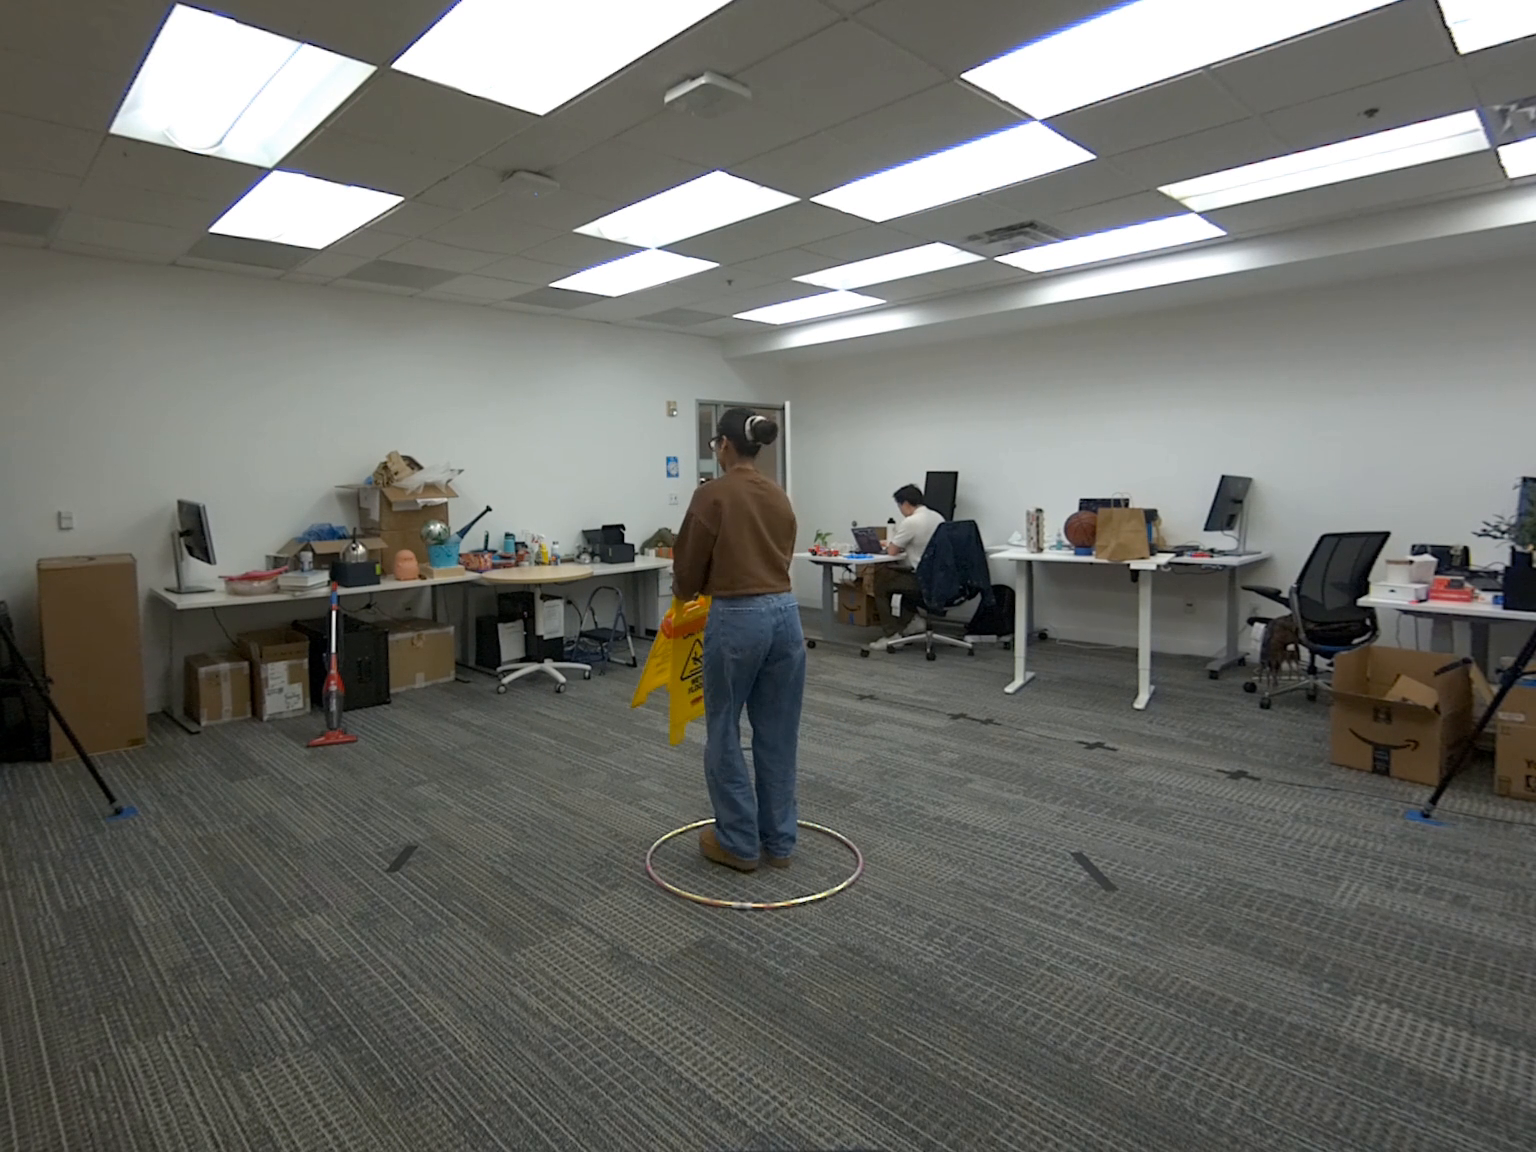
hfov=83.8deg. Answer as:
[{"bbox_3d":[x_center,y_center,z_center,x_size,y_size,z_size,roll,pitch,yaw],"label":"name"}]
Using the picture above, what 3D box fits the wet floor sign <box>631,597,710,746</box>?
[{"bbox_3d":[-0.335,0.325,3.459,0.277,0.634,0.301,-19,39,-41],"label":"wet floor sign"}]
